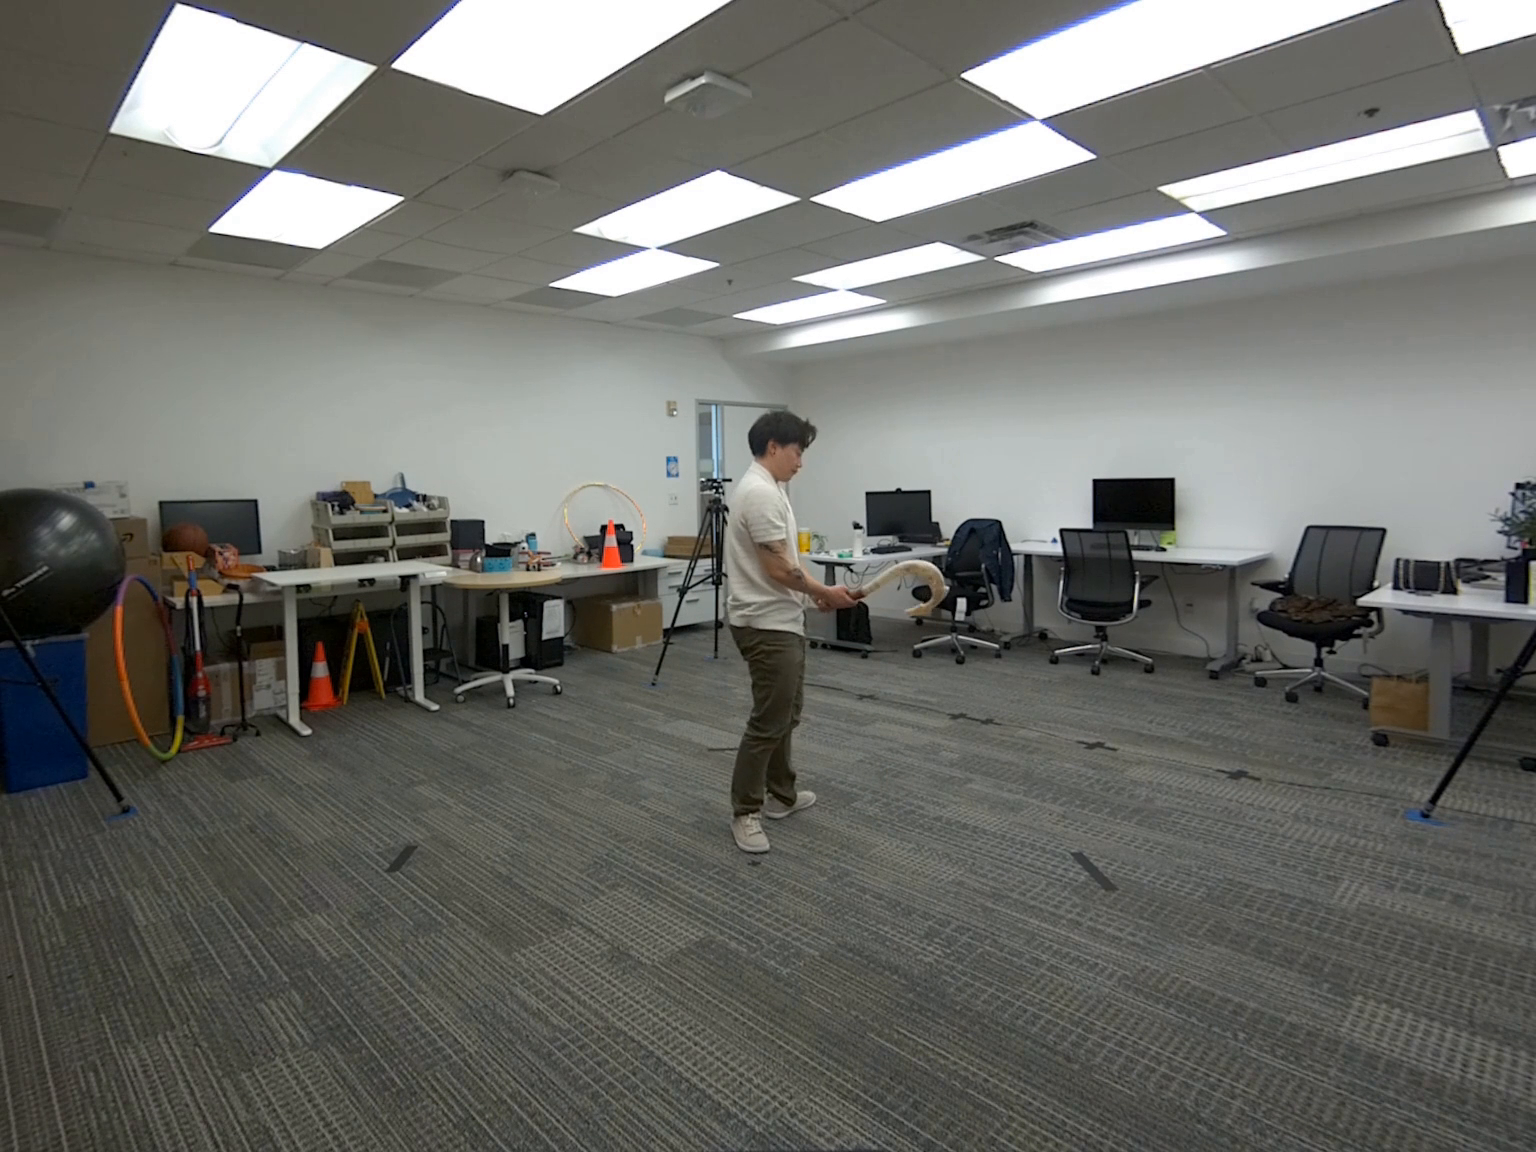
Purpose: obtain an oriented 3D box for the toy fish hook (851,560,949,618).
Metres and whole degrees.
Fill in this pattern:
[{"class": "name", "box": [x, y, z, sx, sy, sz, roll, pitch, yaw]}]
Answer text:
[{"class": "toy fish hook", "box": [0.427, 0.093, 3.250, 0.514, 0.222, 0.048, -20, 10, 32]}]
